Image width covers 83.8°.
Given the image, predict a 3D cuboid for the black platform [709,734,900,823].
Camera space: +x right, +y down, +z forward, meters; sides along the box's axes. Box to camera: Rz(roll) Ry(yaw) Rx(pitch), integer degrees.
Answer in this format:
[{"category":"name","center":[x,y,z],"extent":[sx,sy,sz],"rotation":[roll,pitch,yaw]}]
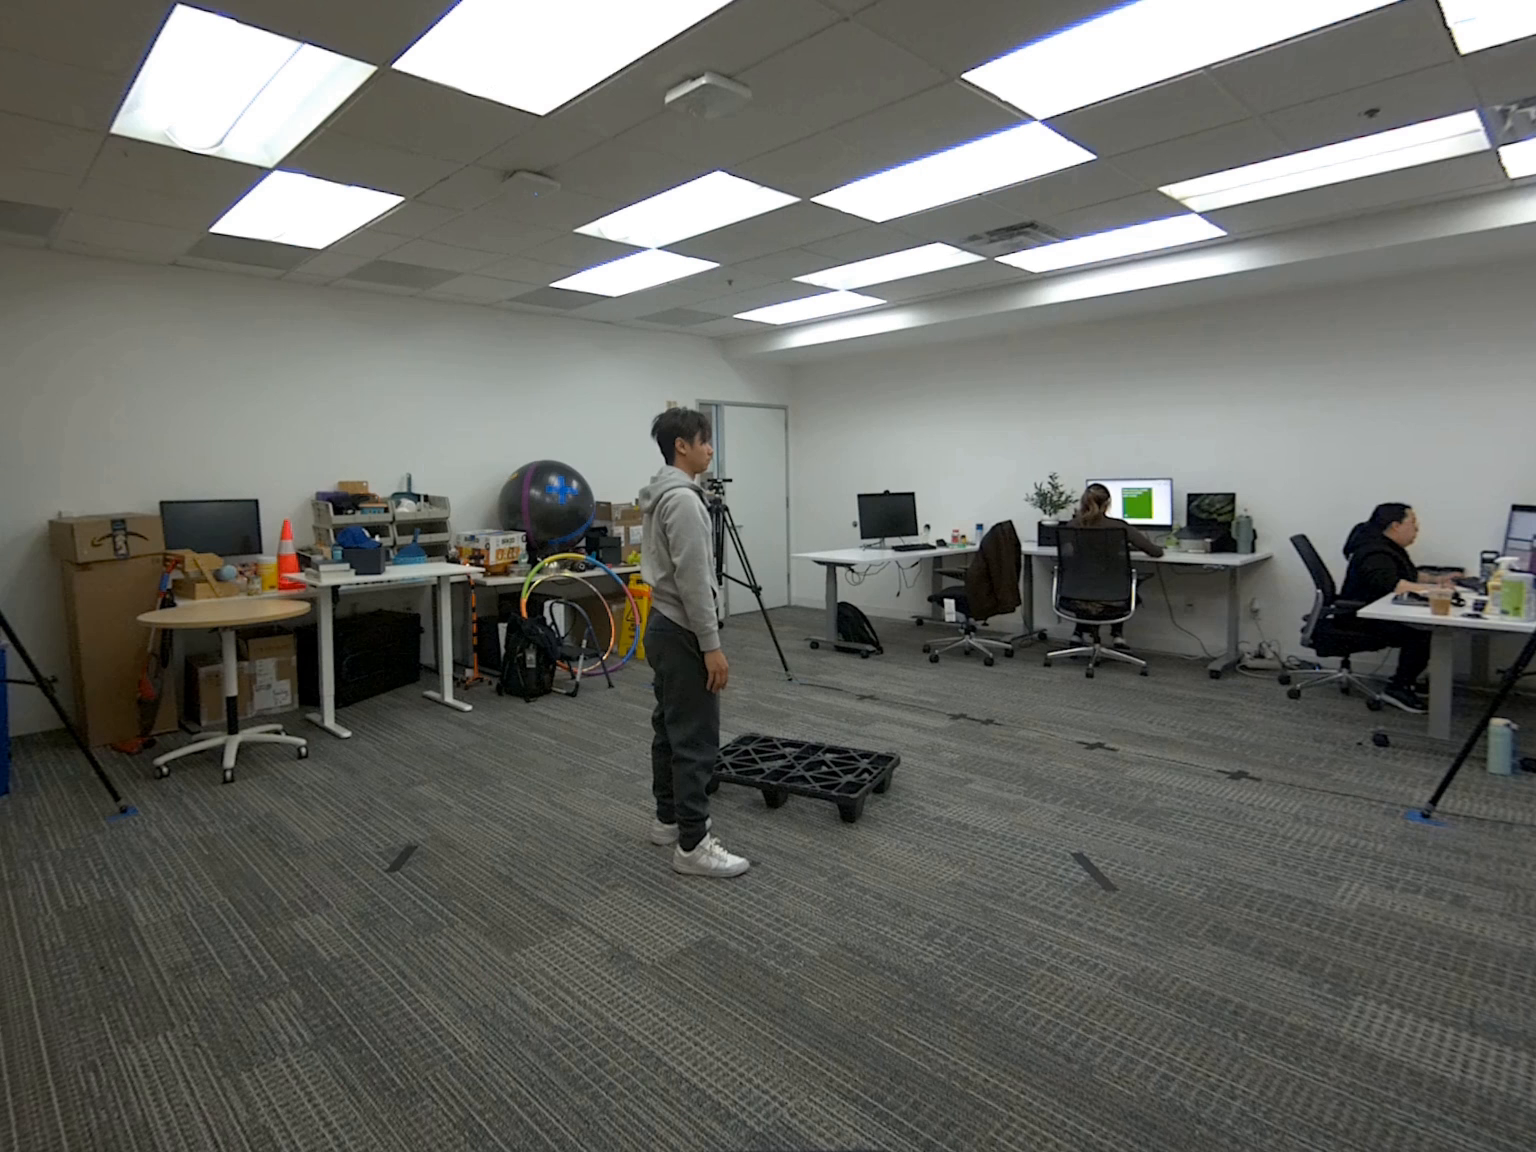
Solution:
[{"category":"black platform","center":[0.117,0.892,3.828],"extent":[0.826,0.143,0.592],"rotation":[3,6,28]}]
